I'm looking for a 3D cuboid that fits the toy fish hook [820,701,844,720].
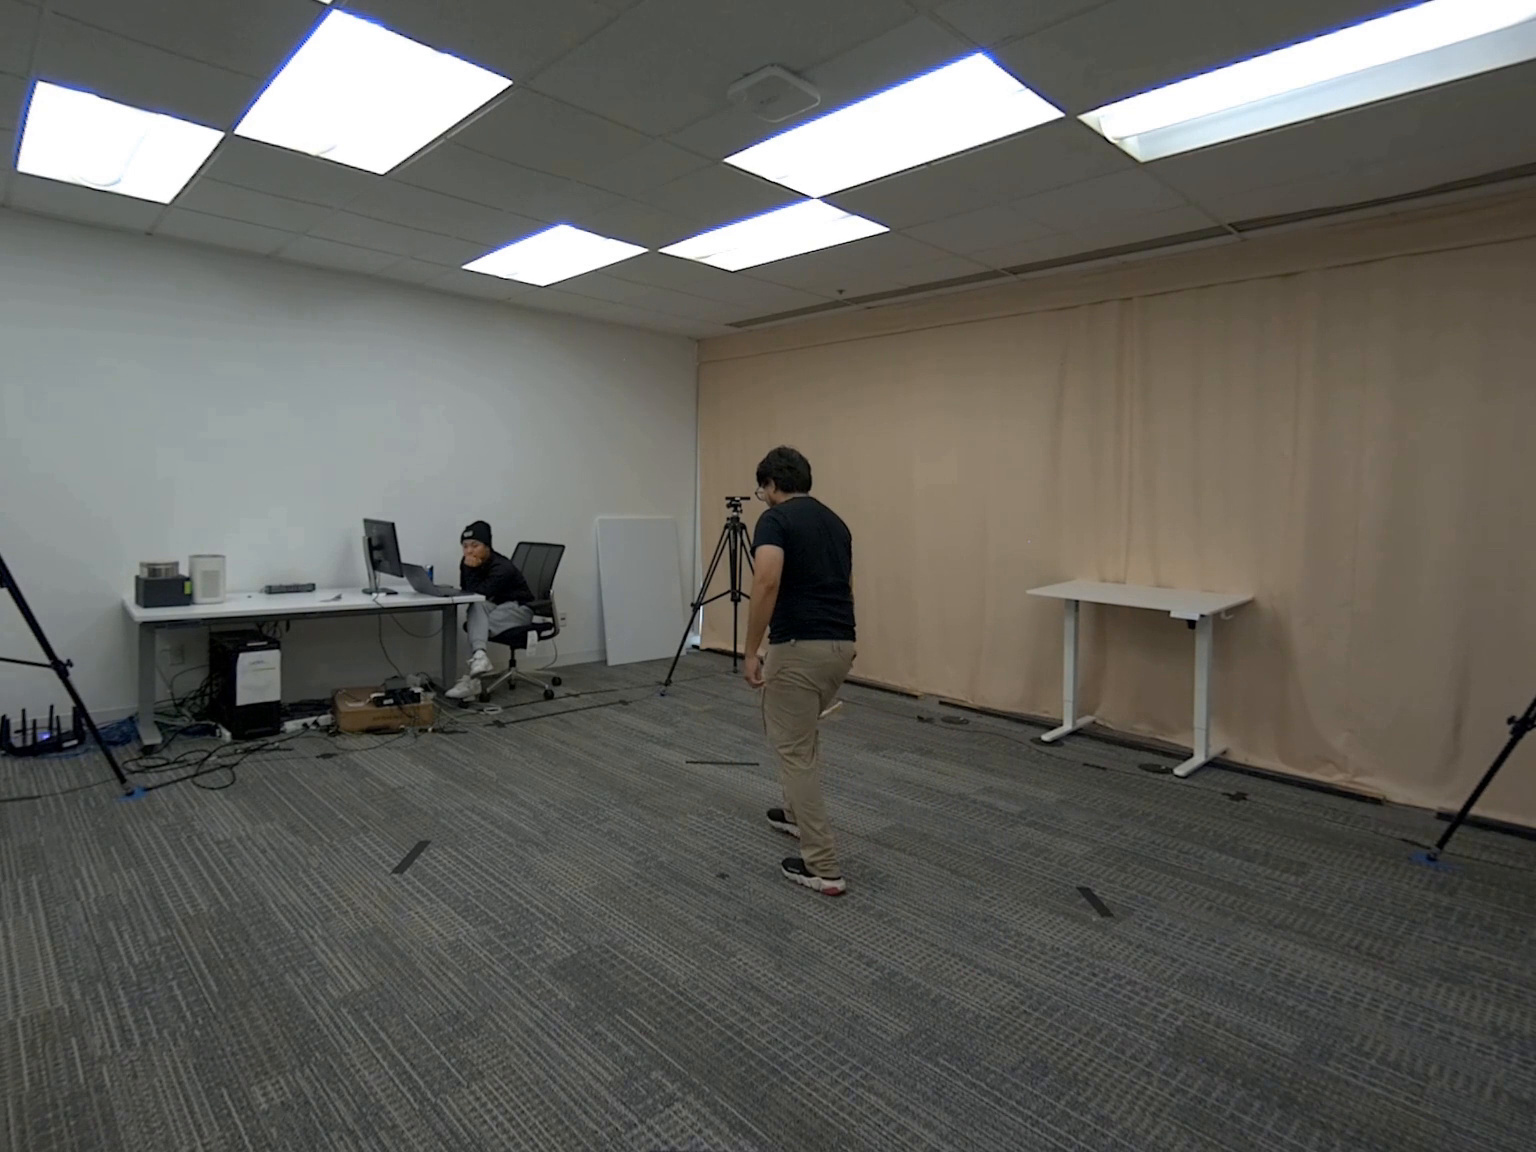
[{"bbox_3d":[0.273,0.499,3.621,0.219,0.049,0.505,17,-47,-27],"label":"toy fish hook"}]
